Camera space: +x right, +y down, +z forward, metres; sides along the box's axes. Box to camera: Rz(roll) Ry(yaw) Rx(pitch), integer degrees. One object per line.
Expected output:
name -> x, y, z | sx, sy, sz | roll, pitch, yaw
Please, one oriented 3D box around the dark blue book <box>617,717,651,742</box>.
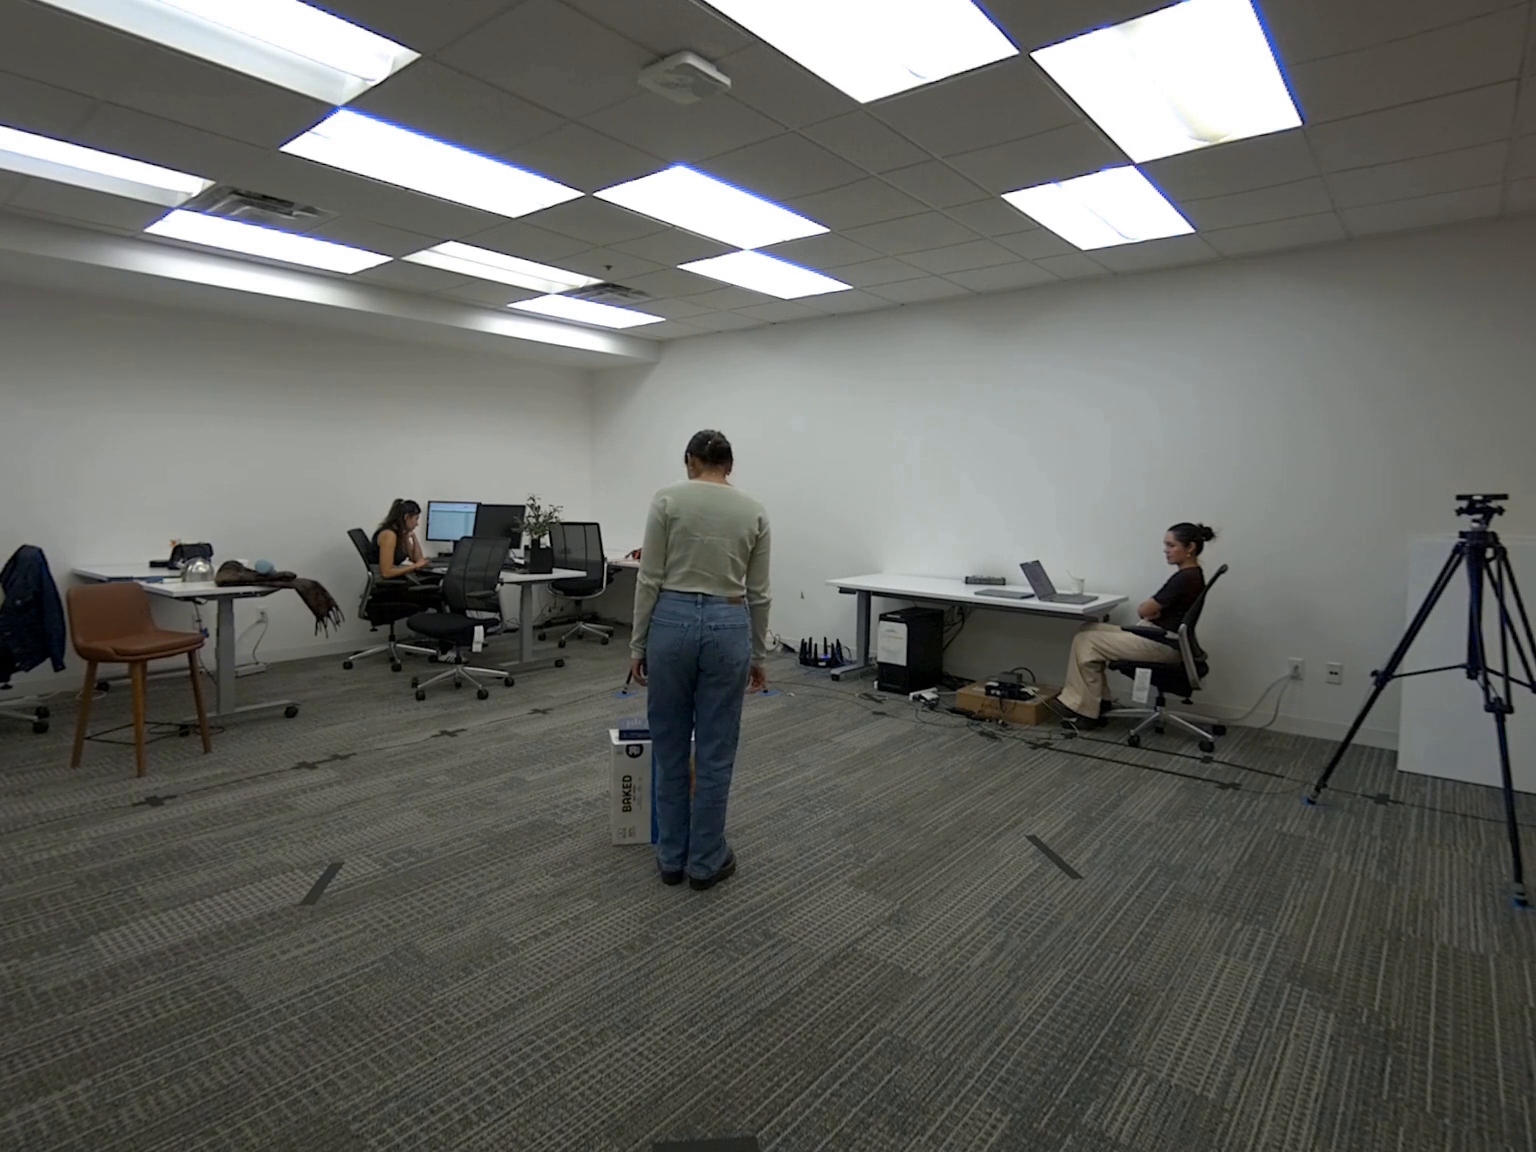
dark blue book -> -0.487, 0.609, 3.398 | 0.243, 0.045, 0.165 | 0, 6, -7
